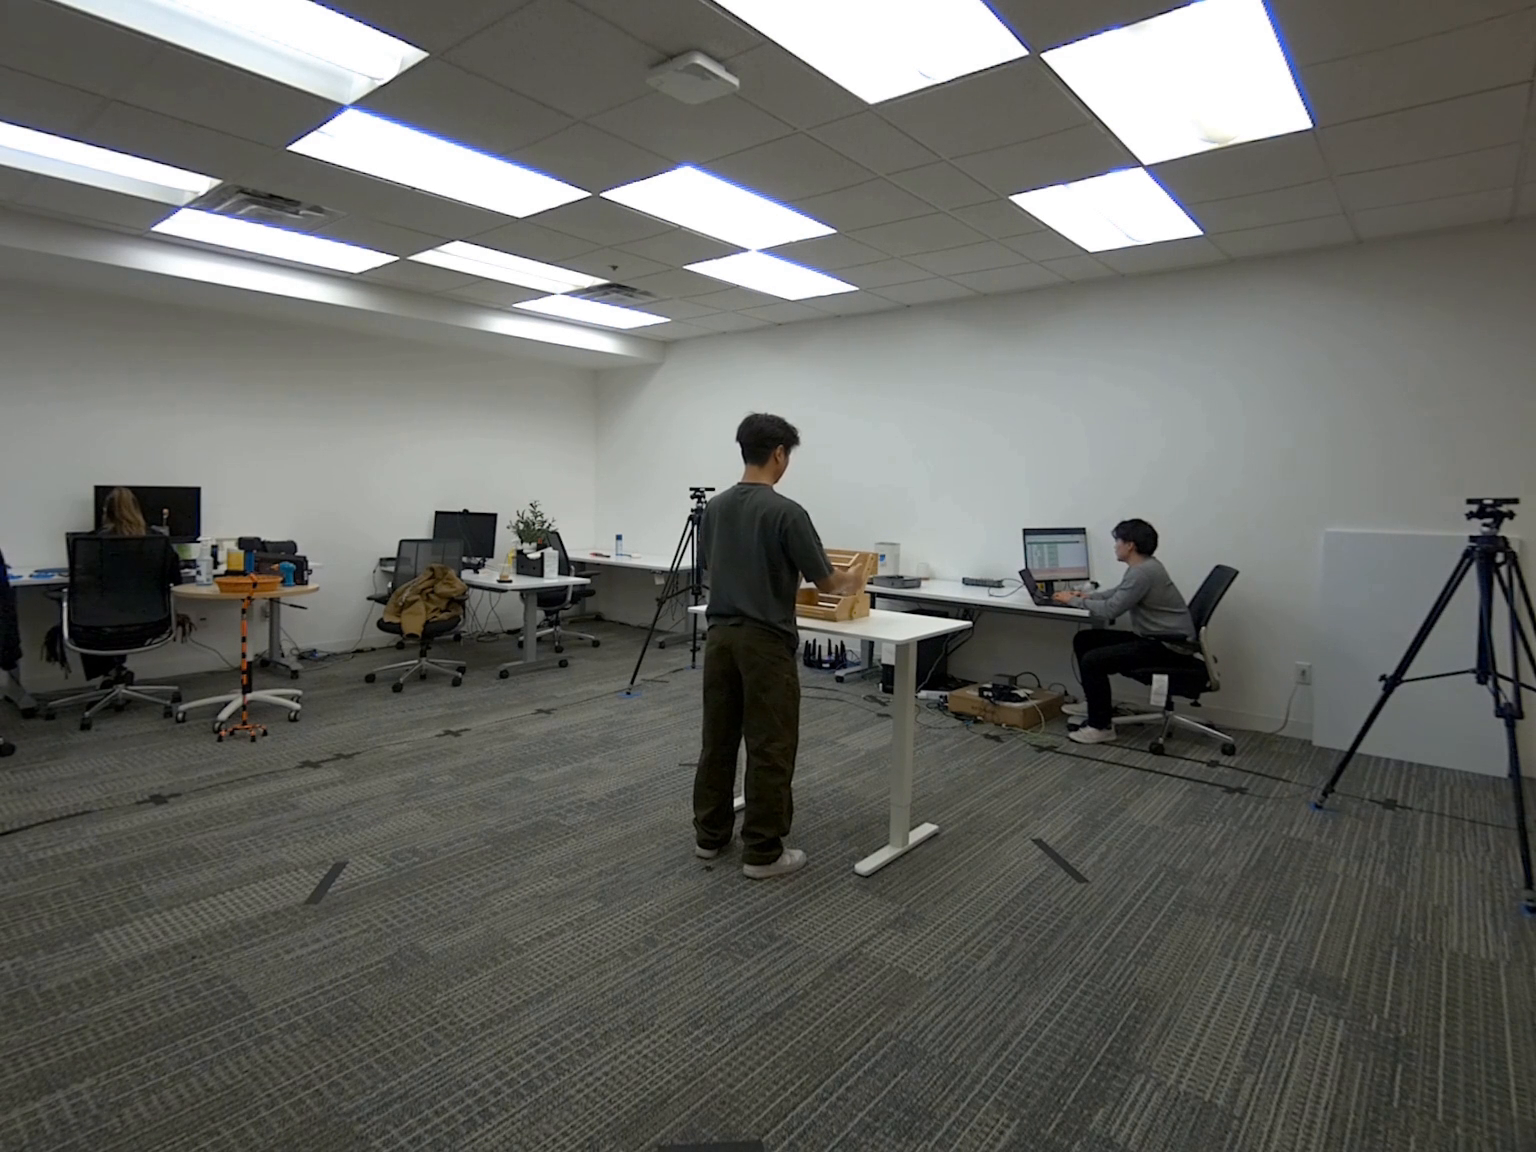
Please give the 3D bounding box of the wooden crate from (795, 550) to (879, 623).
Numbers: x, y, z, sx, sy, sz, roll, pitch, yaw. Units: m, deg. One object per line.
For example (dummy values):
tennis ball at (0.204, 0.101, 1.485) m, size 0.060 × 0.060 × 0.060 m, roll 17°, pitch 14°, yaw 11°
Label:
wooden crate at (0.234, 0.023, 3.500) m, size 0.335 × 0.272 × 0.293 m, roll 6°, pitch 5°, yaw 40°
